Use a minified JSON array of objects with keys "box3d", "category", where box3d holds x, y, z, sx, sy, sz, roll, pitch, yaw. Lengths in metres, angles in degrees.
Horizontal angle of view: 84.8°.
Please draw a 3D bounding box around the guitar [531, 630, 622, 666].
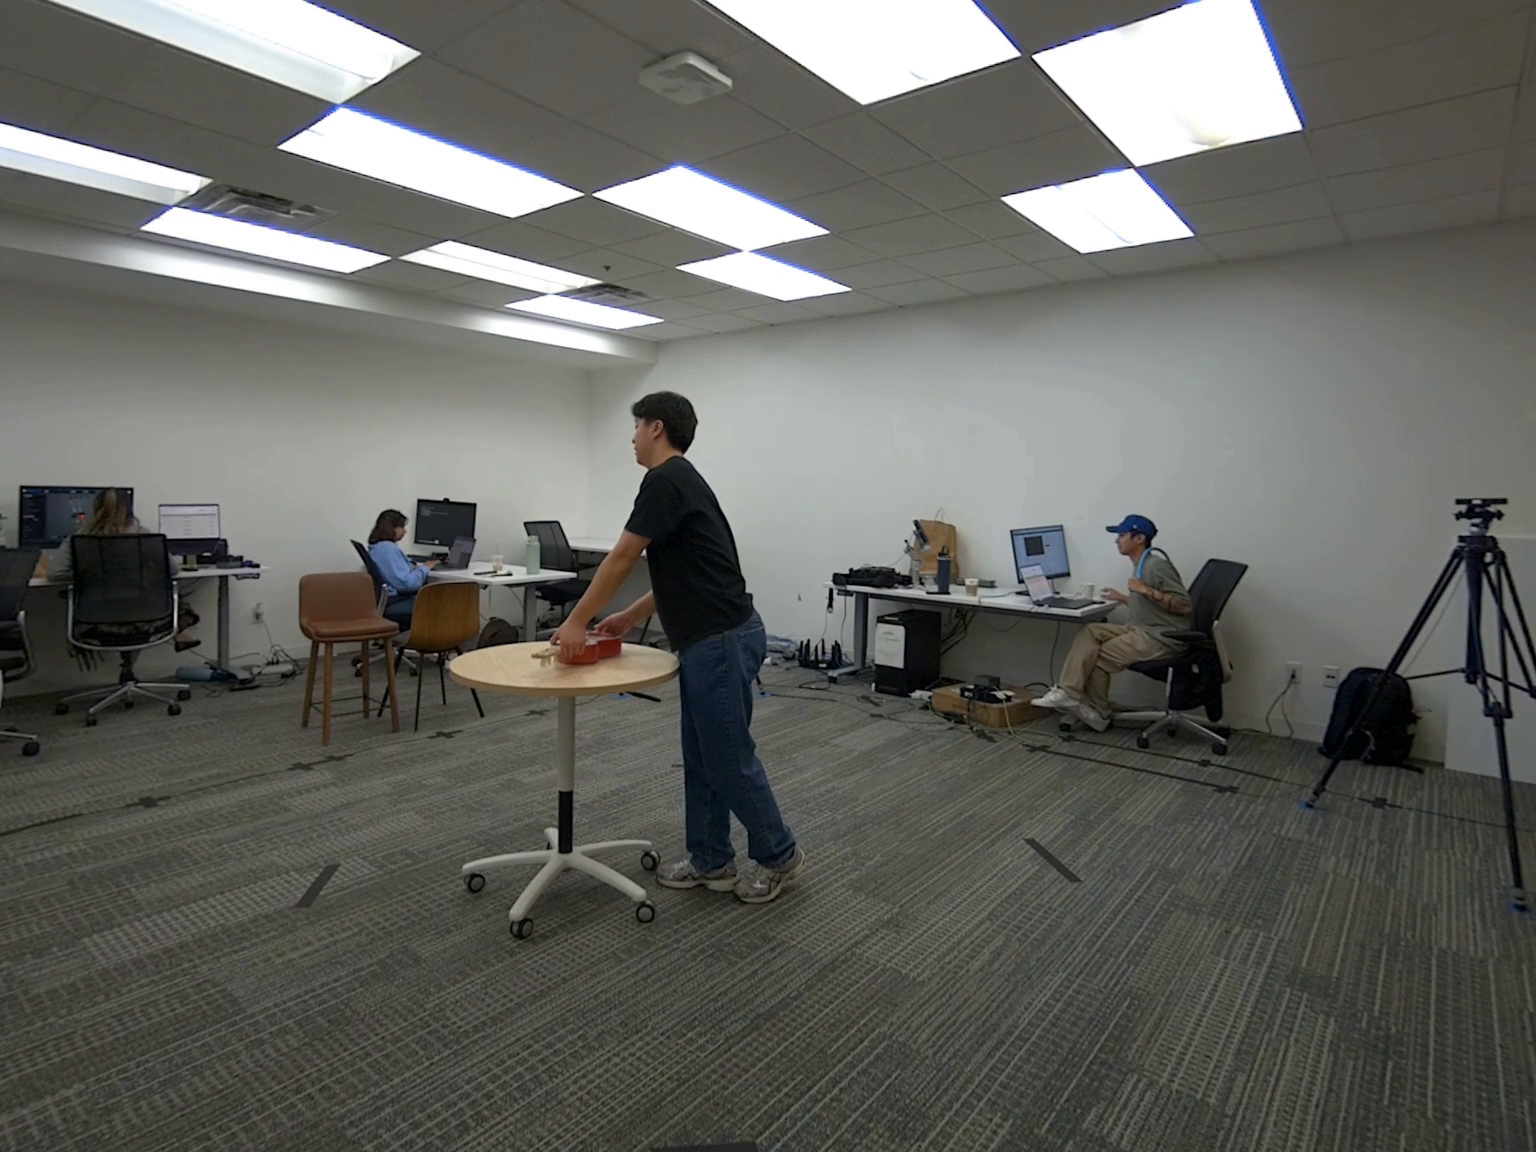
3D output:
[{"box3d":[-0.693,0.255,2.857,0.197,0.070,0.487,3,5,21],"category":"guitar"}]
